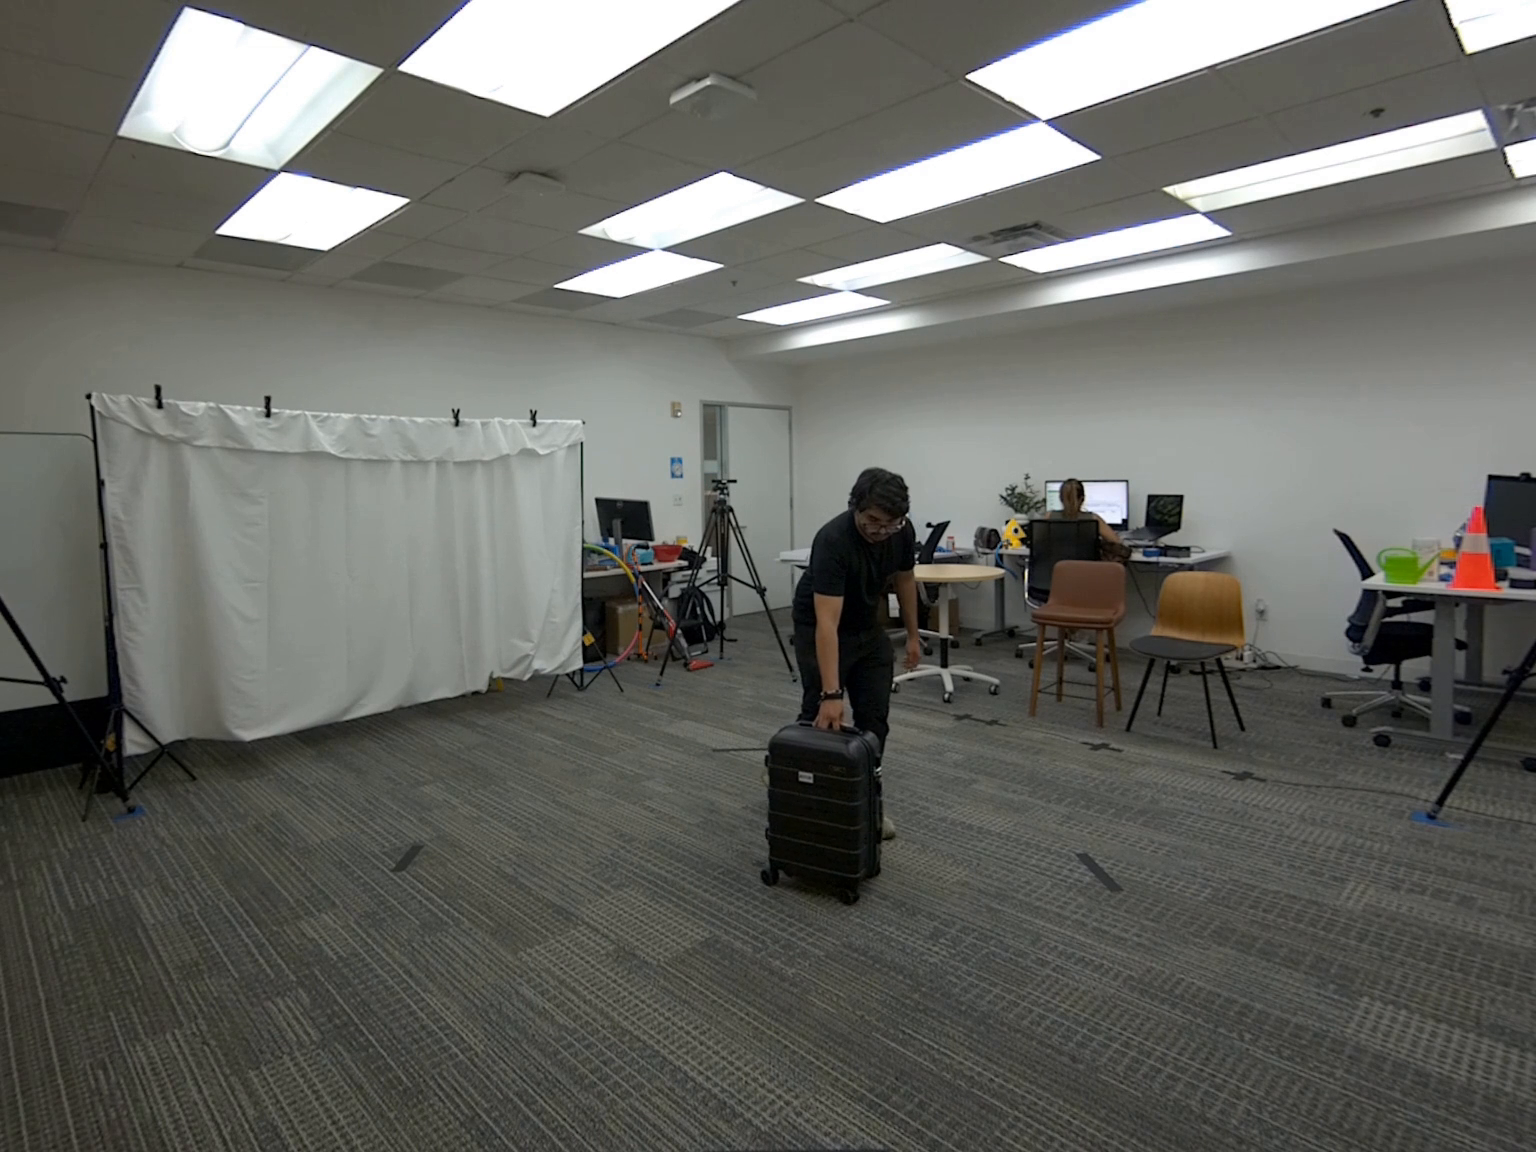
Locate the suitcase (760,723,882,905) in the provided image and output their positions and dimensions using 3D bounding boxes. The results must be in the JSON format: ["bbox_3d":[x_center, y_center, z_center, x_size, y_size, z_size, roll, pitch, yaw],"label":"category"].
[{"bbox_3d":[0.192,0.789,2.943,0.386,0.546,0.243,3,7,31],"label":"suitcase"}]
